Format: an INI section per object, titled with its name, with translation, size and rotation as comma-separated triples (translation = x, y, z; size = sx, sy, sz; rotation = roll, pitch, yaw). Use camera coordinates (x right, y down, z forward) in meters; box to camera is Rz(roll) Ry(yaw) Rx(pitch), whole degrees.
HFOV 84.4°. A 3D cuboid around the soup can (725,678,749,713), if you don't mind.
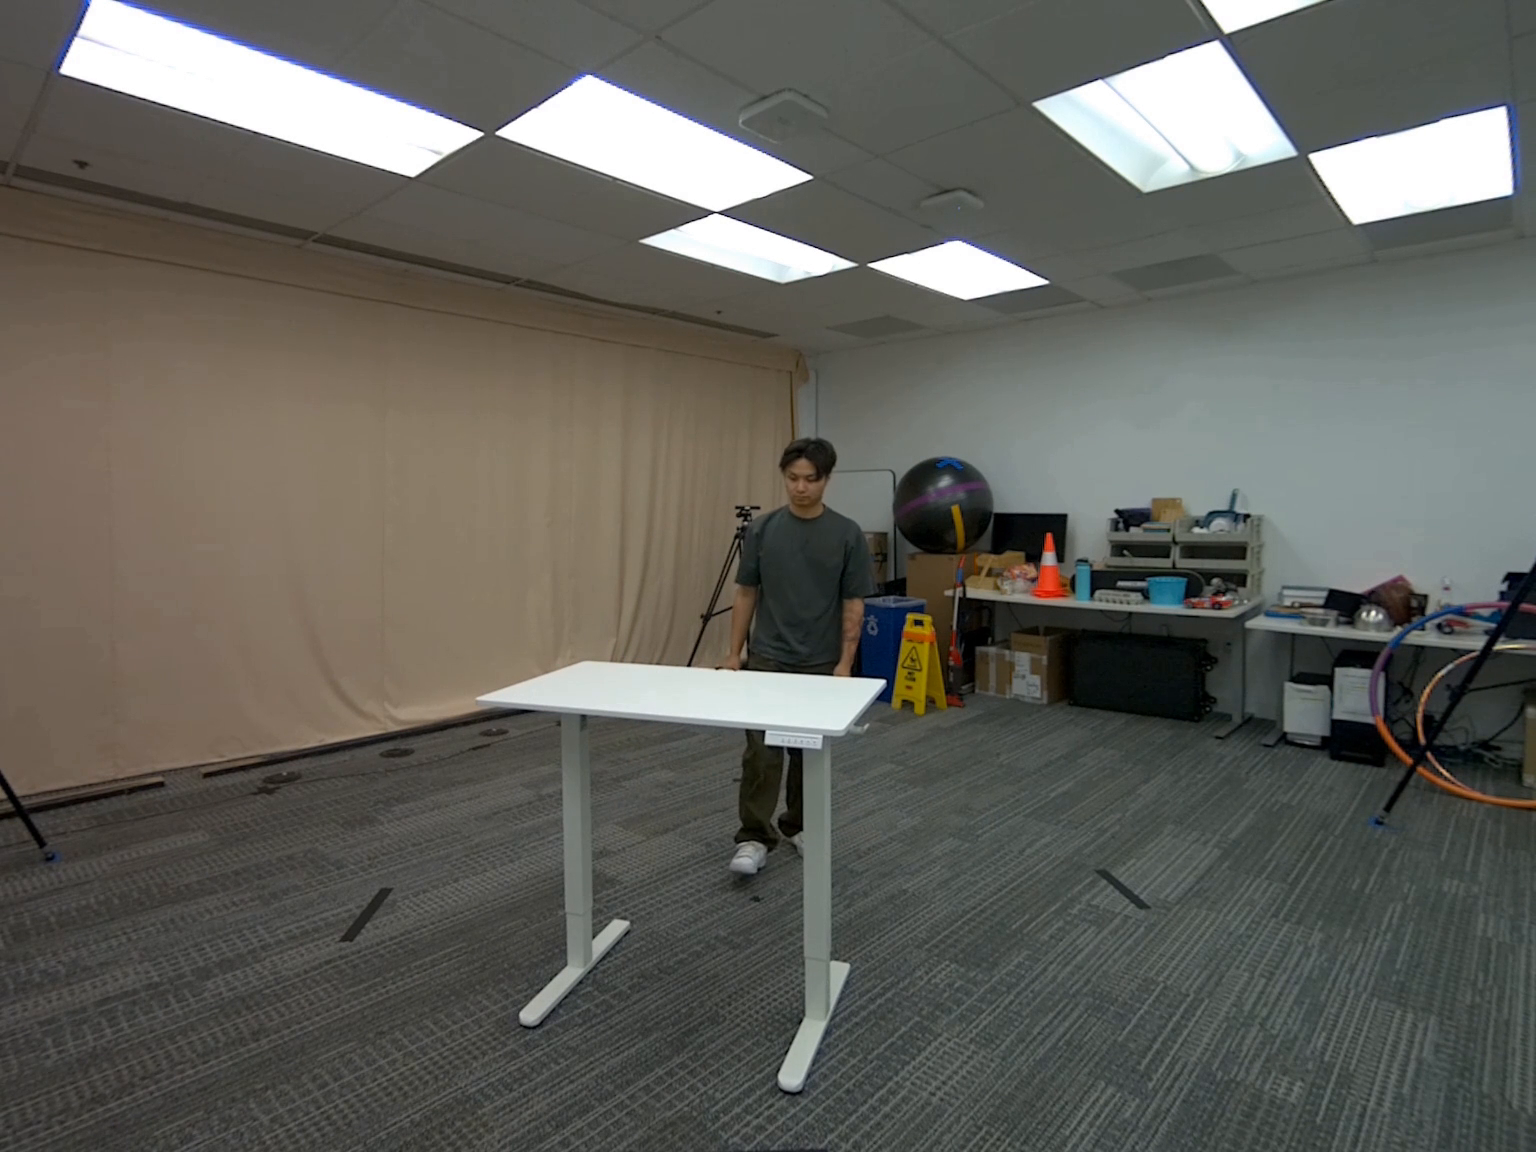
[soup can]
translation = -0.125, 0.475, 3.369
size = 0.067, 0.122, 0.067
rotation = -11, -10, -4
